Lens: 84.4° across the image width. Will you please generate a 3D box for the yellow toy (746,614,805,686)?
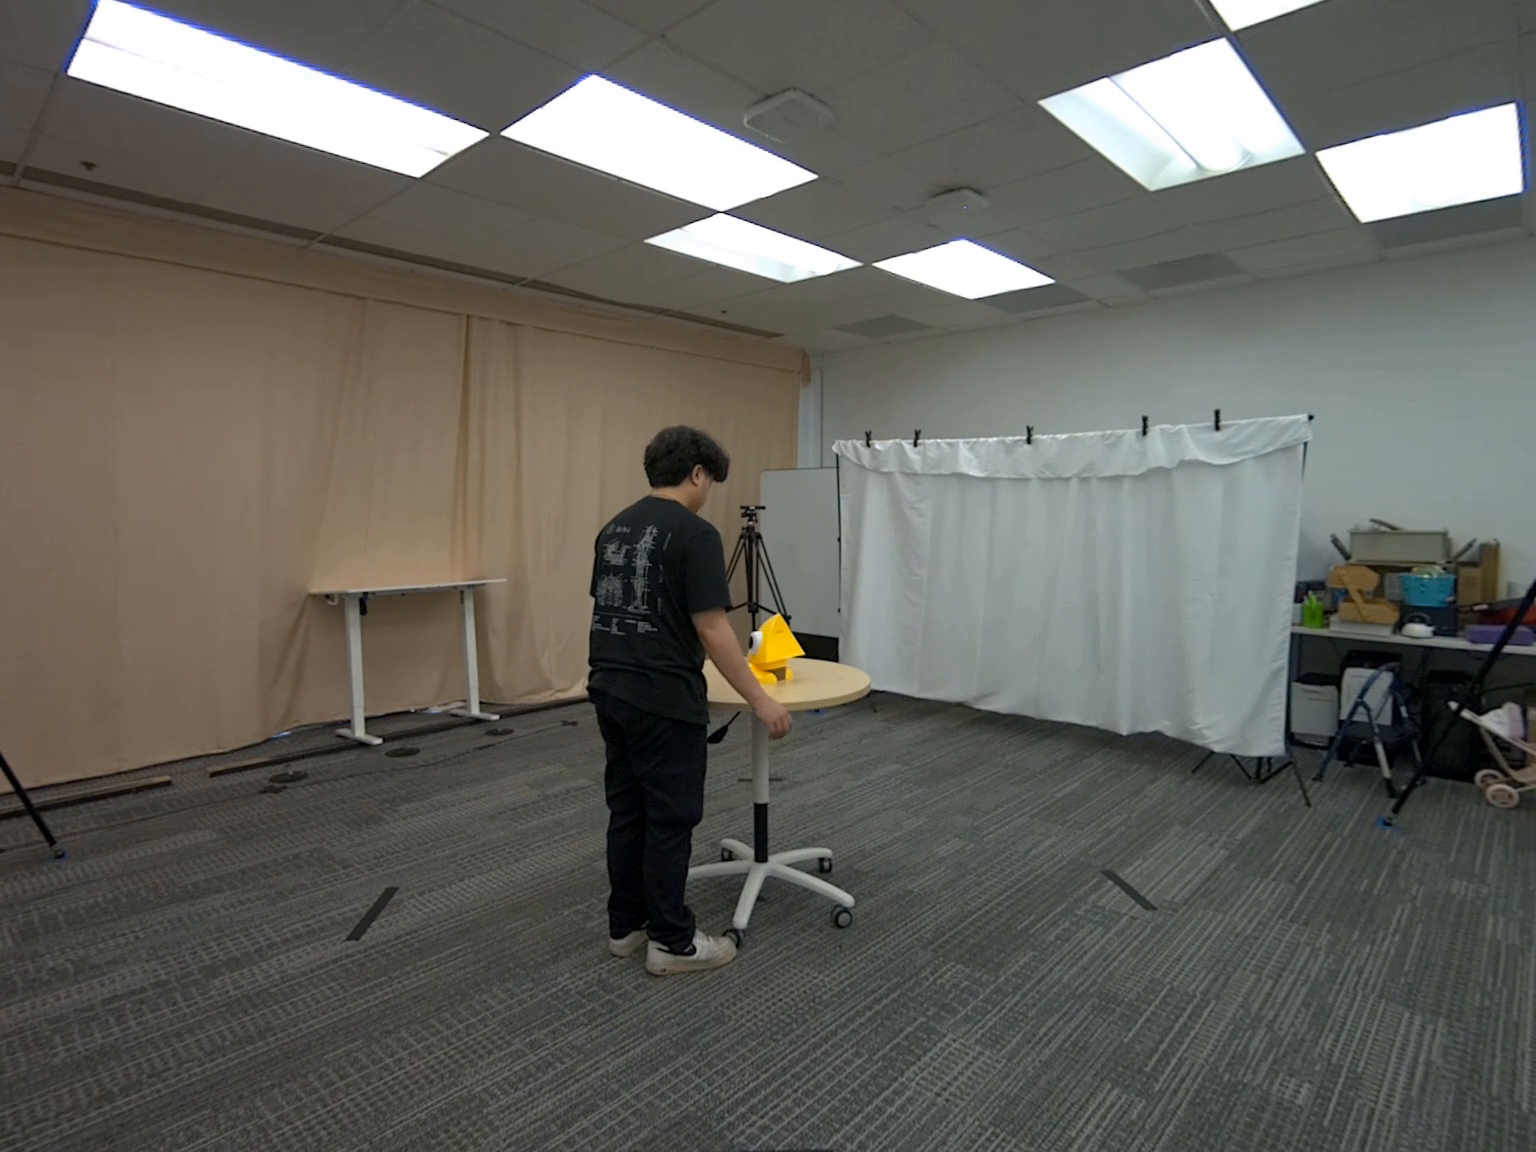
[{"bbox_3d":[-0.006,0.242,2.927,0.199,0.230,0.198,2,5,42],"label":"yellow toy"}]
